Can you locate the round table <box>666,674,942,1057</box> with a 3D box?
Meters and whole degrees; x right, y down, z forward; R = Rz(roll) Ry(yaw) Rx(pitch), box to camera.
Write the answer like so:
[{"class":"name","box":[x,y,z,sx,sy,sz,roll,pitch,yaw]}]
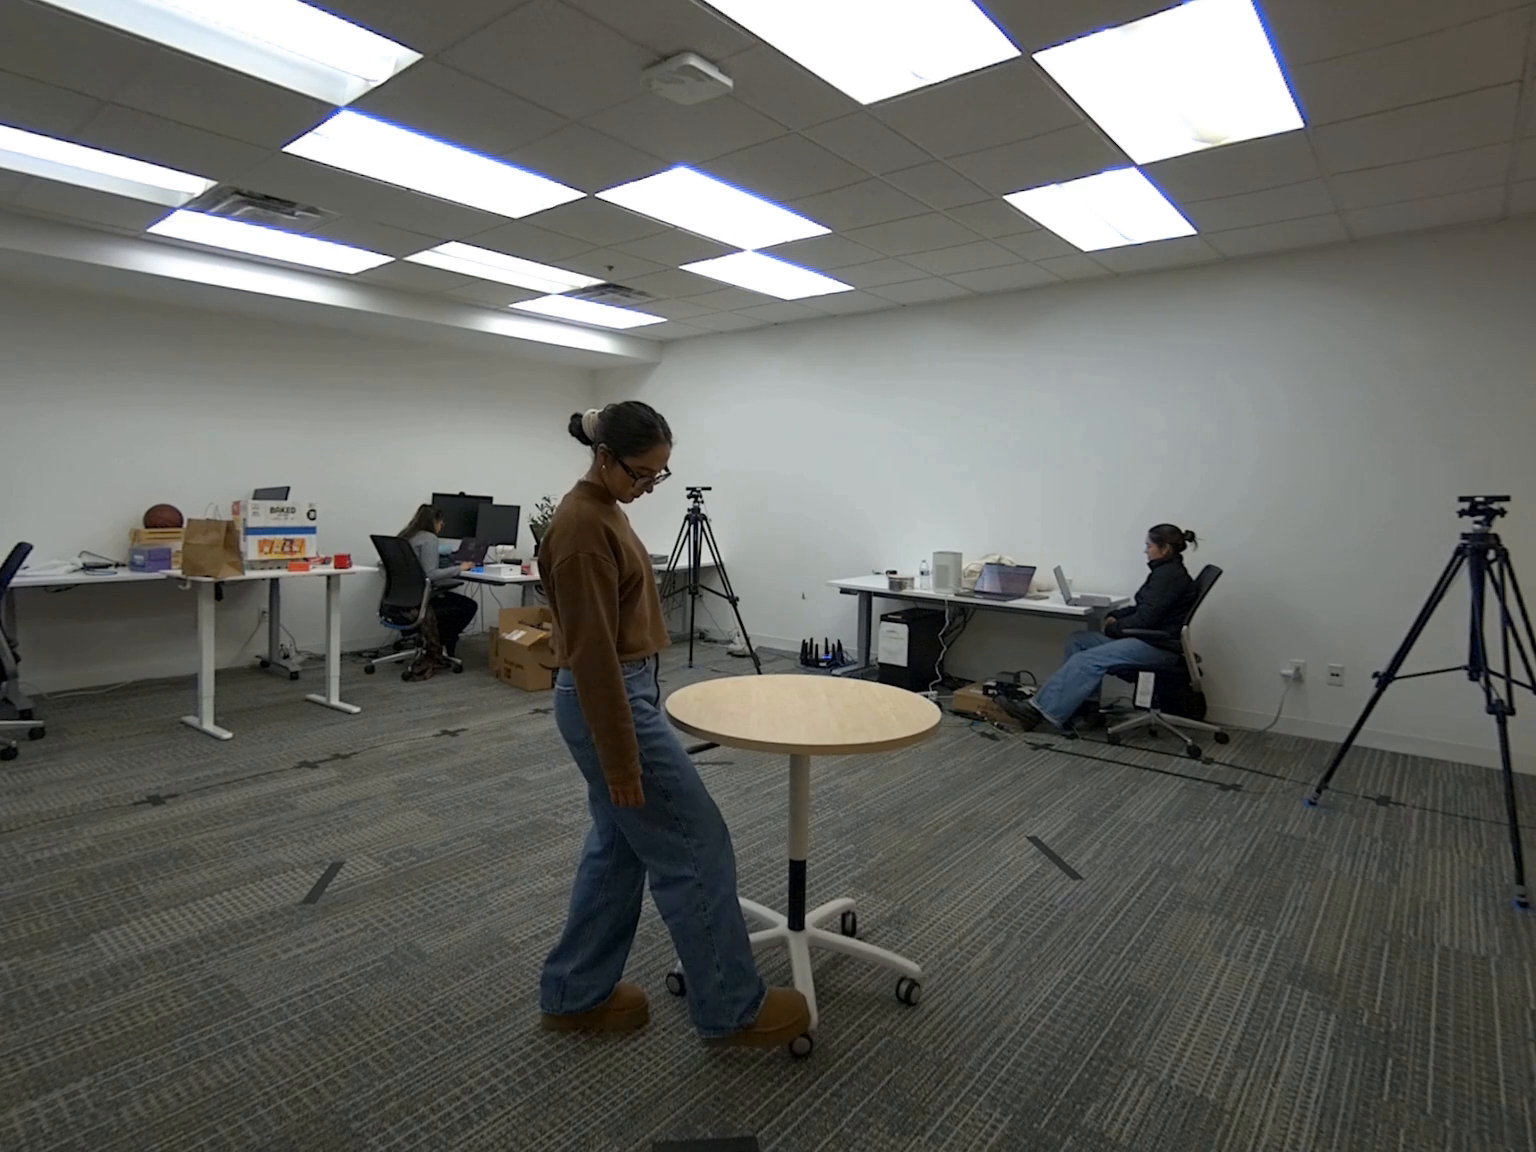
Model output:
[{"class":"round table","box":[0.079,0.750,2.421,0.763,0.791,0.768,1,4,-2]}]
